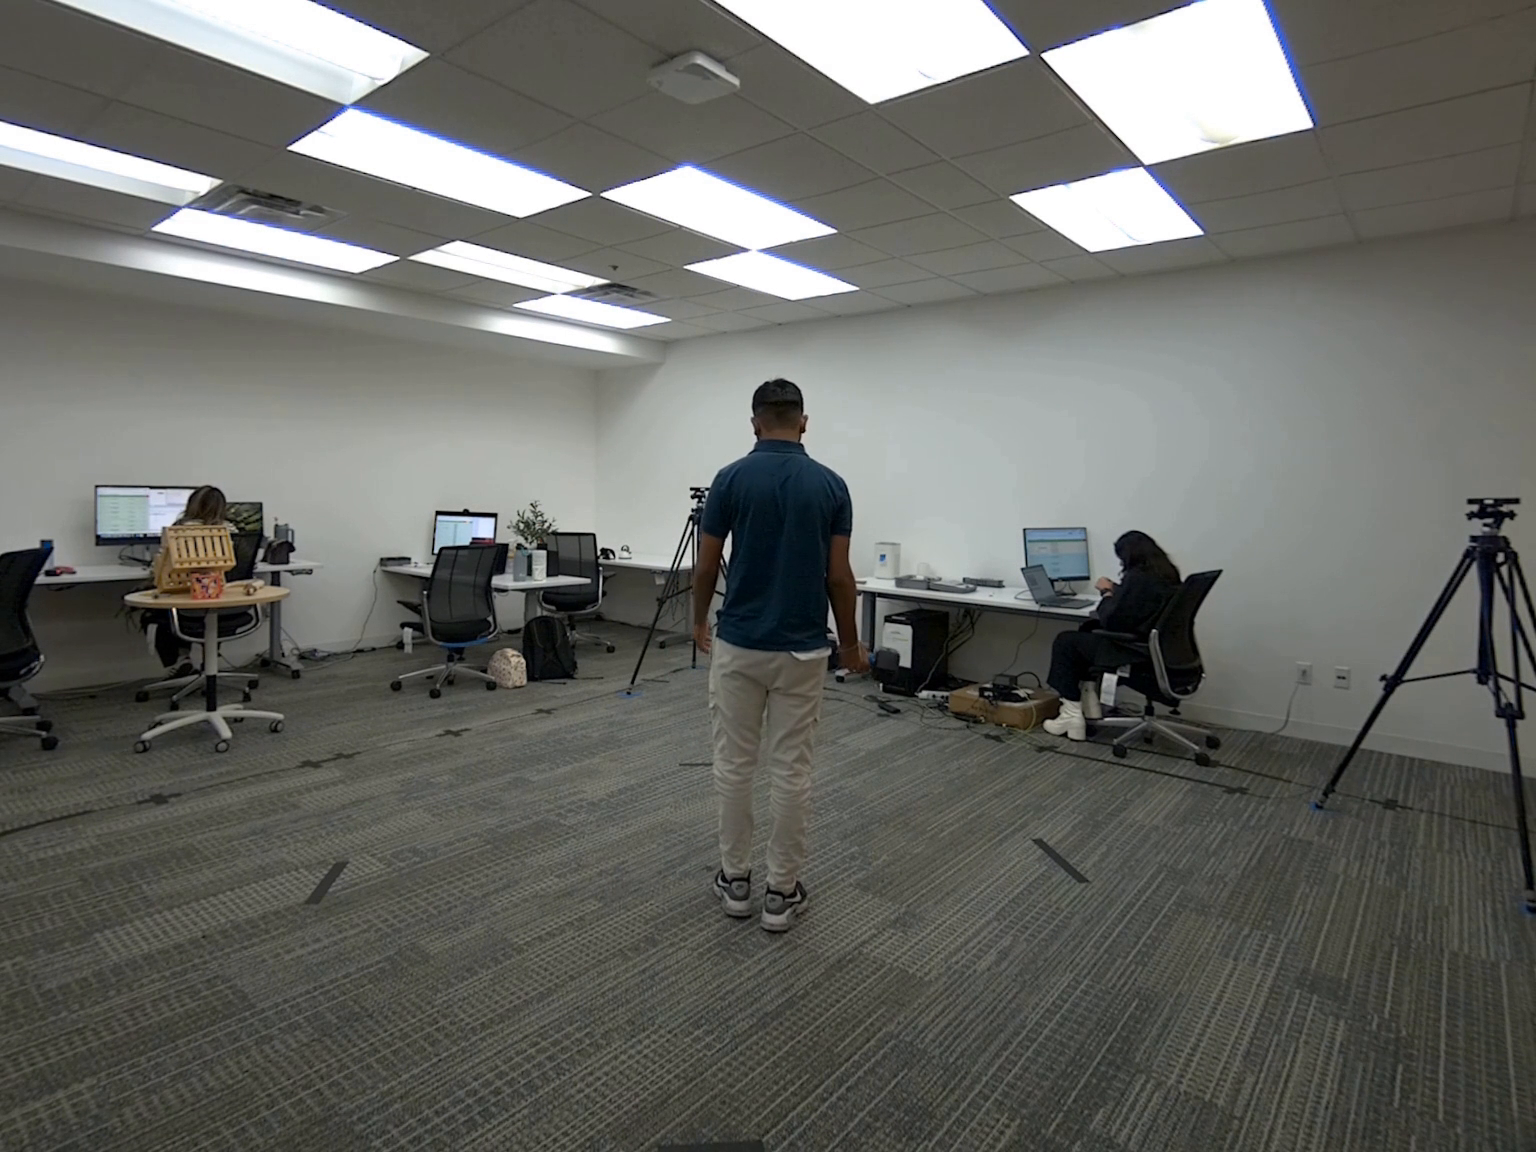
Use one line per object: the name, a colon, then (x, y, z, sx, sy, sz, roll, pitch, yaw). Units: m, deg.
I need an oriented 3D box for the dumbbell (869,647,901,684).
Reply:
dumbbell: (0.277, 0.277, 2.869, 0.295, 0.108, 0.123, 11, 8, 4)
